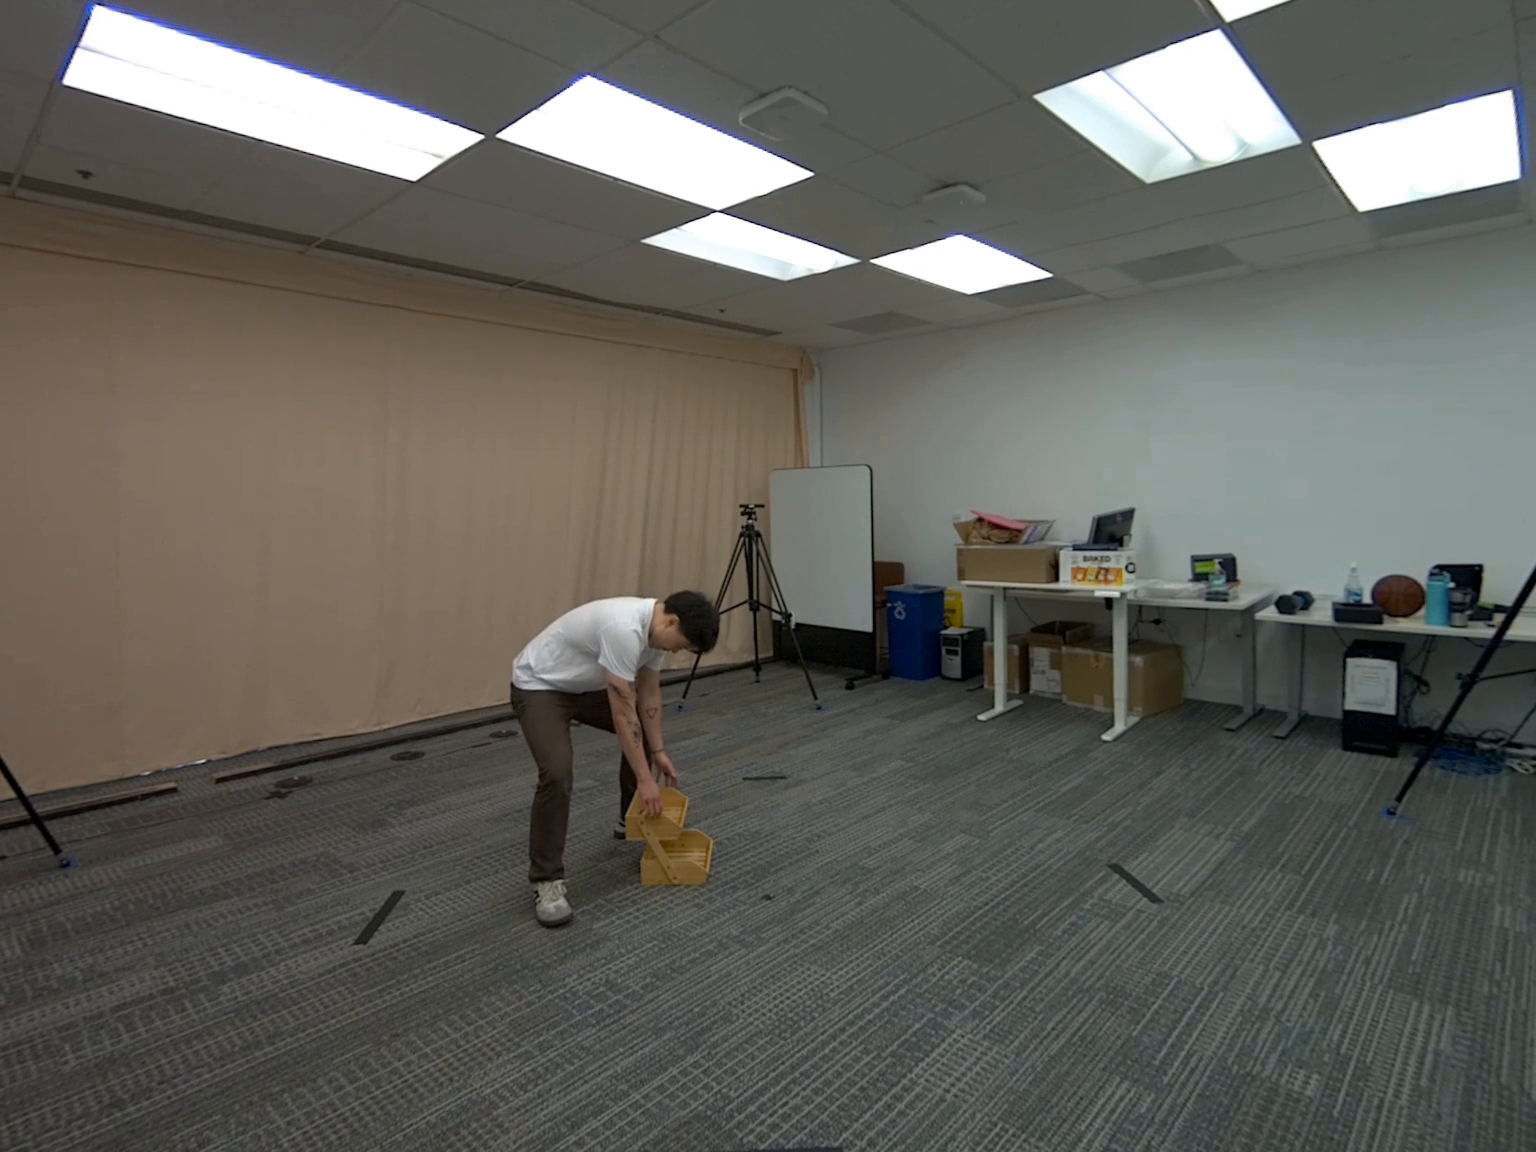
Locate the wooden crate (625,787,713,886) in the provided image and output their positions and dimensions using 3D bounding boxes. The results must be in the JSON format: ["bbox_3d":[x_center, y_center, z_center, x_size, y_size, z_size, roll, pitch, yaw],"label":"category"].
[{"bbox_3d":[-0.368,0.993,3.241,0.302,0.273,0.325,-2,4,1],"label":"wooden crate"}]
